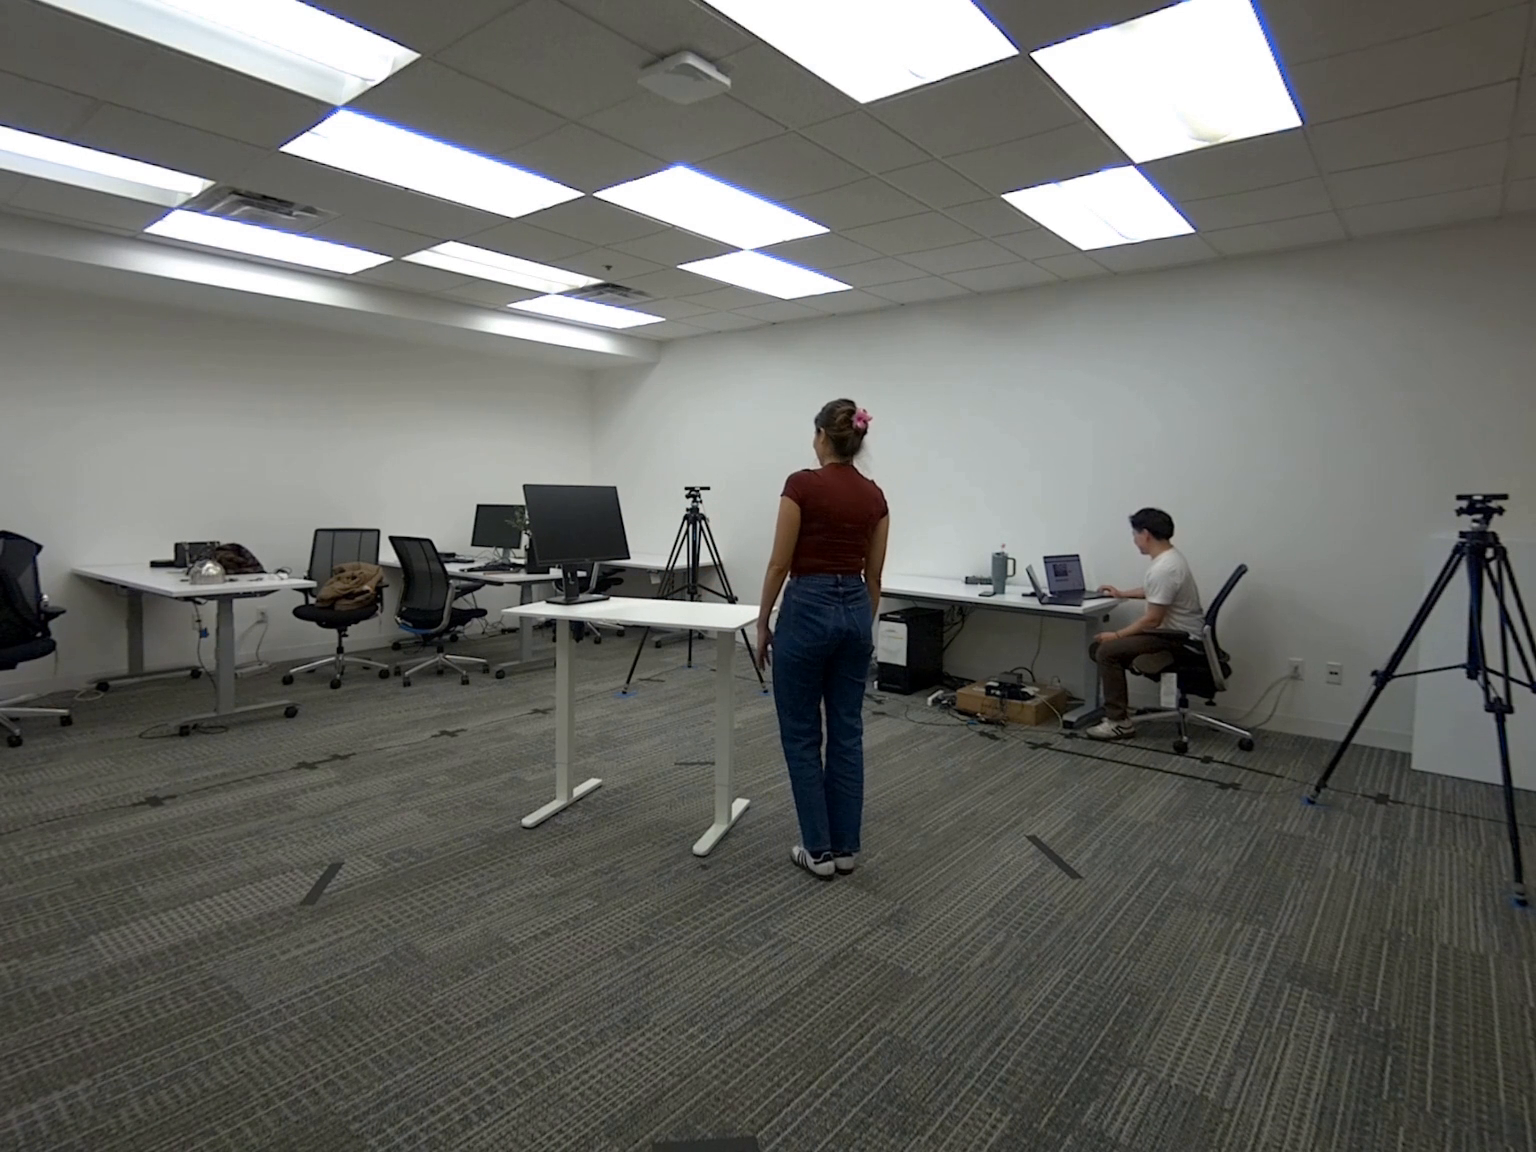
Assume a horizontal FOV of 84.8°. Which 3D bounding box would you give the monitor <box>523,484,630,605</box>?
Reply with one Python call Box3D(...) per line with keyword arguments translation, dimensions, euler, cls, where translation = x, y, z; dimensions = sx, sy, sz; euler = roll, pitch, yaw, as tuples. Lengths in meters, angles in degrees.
Box3D(translation=(-0.876, -0.143, 3.777), dimensions=(0.193, 0.522, 0.524), euler=(0, 2, 35), cls="monitor")
